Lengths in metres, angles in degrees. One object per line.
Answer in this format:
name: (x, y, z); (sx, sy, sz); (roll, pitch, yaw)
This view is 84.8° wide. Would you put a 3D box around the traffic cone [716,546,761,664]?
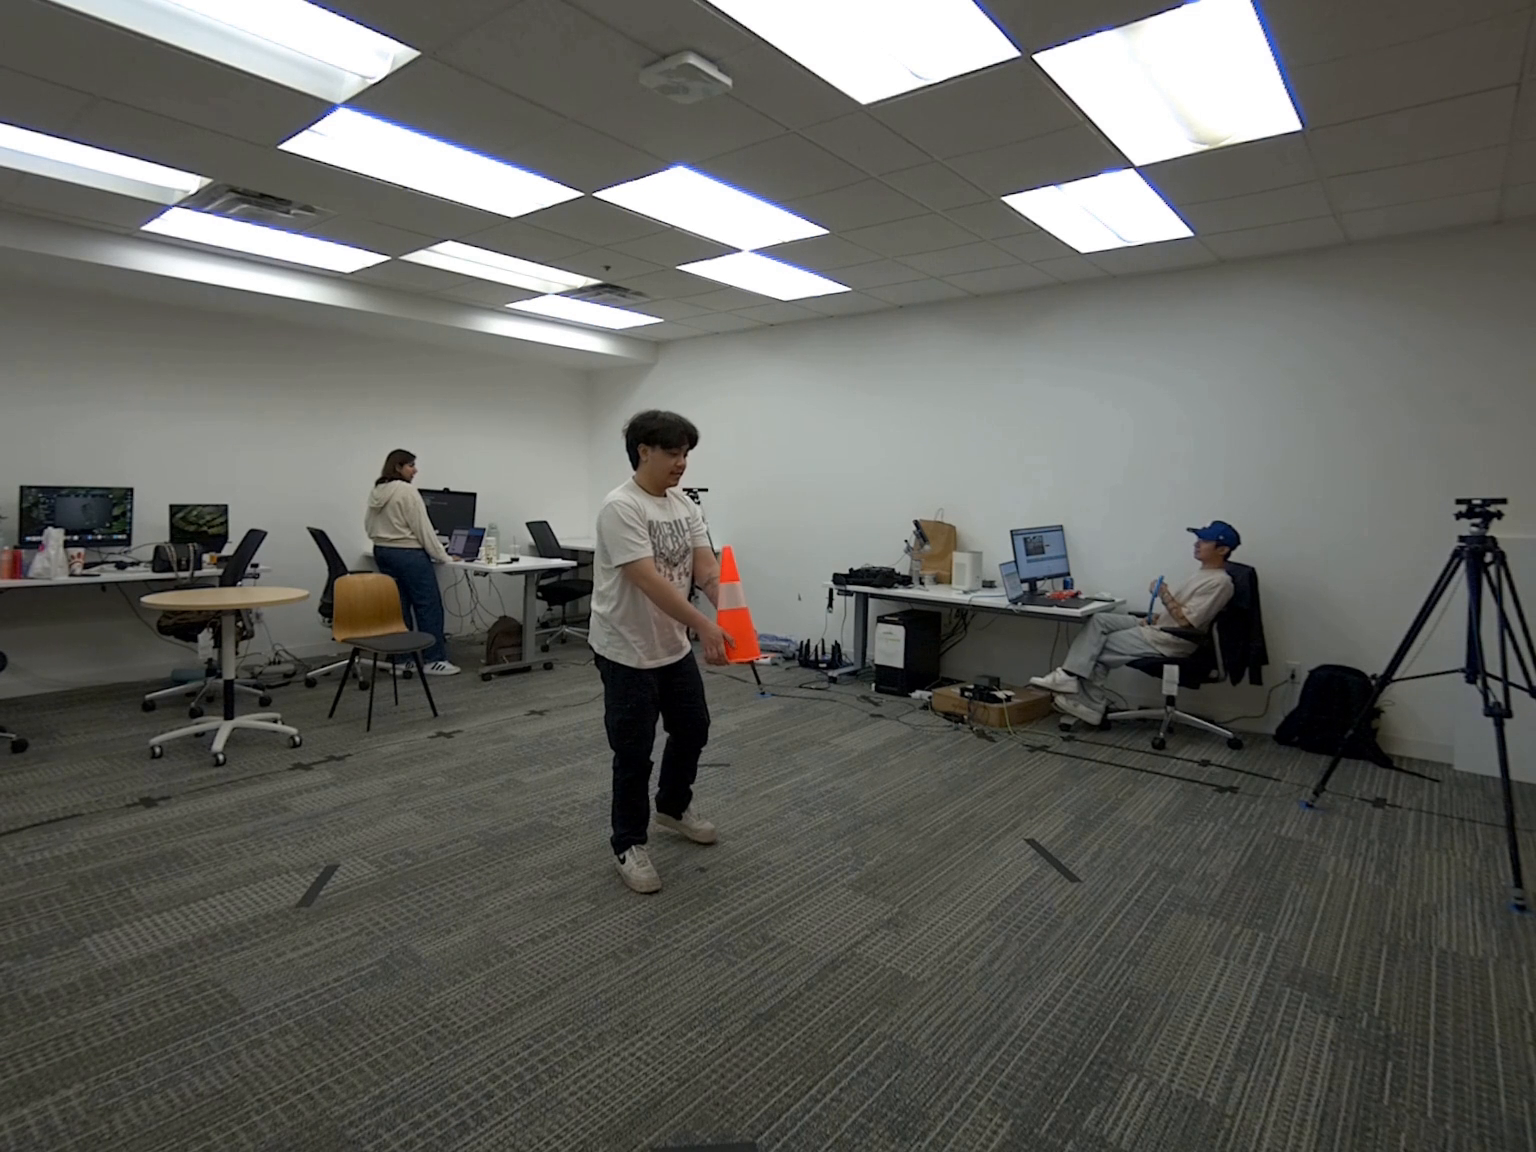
traffic cone: (-0.128, 0.089, 2.879); (0.207, 0.384, 0.200); (-5, -1, 21)
